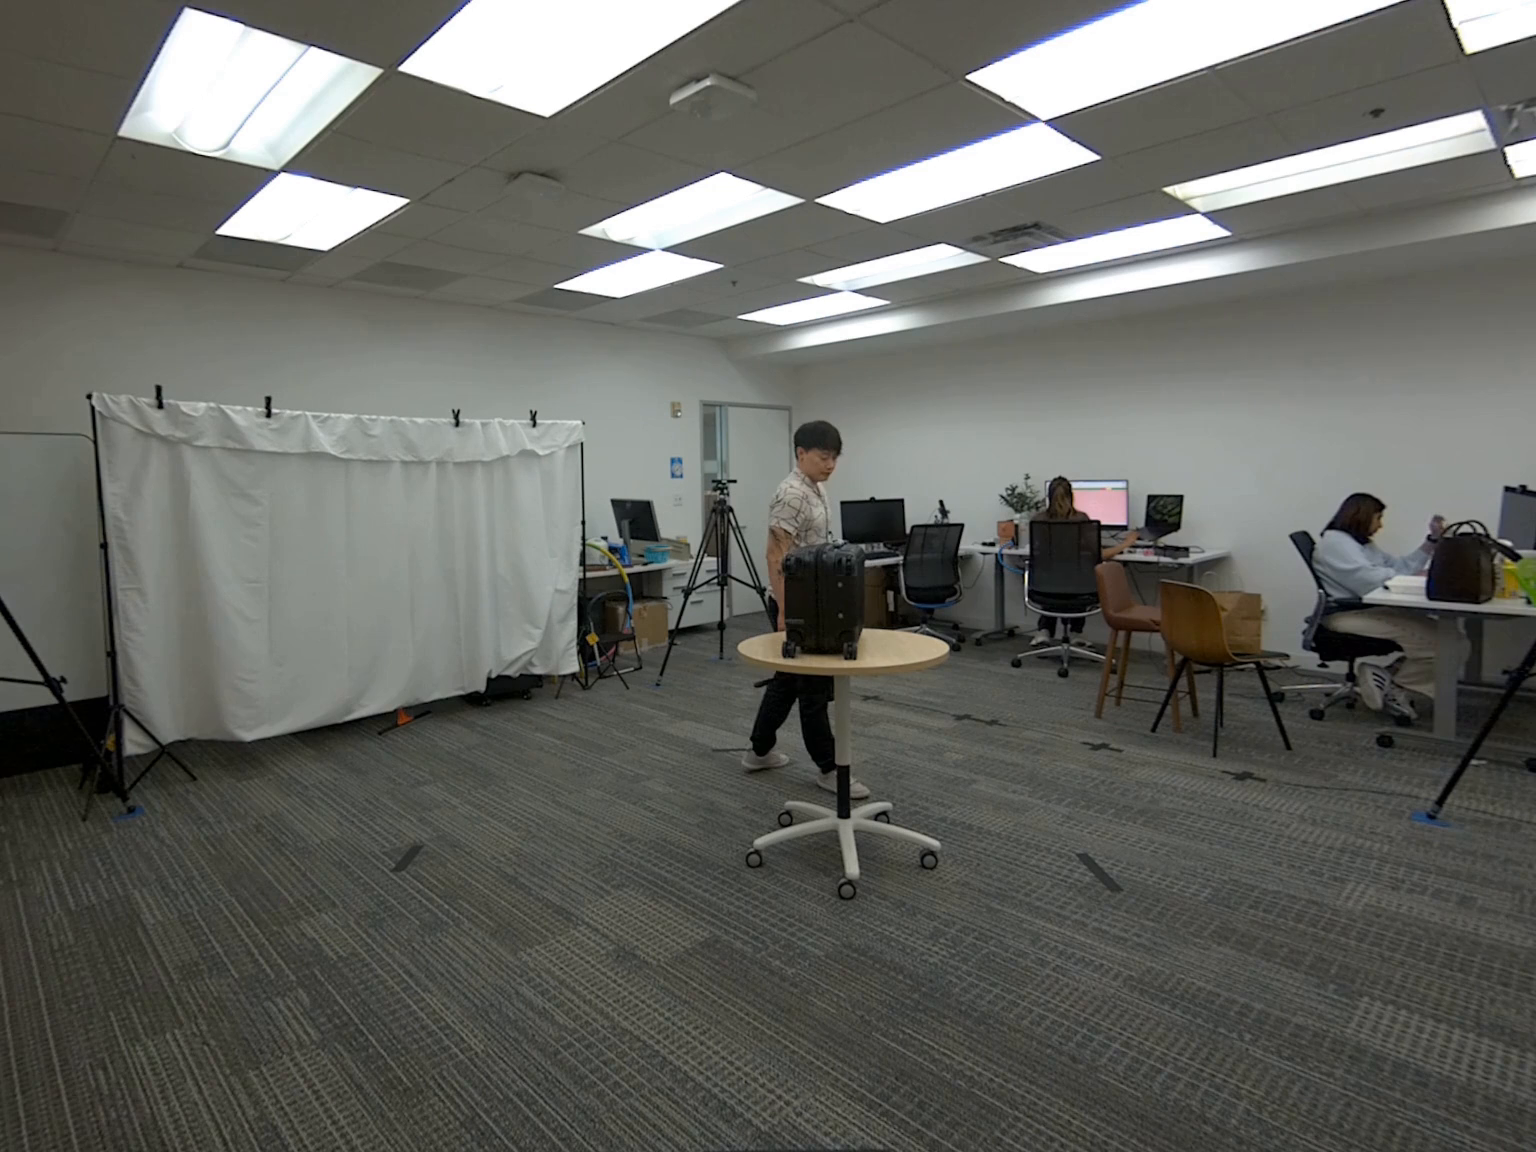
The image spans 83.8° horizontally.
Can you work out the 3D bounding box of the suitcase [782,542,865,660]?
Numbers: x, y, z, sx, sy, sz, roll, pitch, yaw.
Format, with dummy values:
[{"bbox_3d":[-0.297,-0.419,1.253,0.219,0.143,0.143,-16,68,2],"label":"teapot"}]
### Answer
[{"bbox_3d":[0.210,0.065,3.149,0.251,0.374,0.546,-2,6,10],"label":"suitcase"}]
